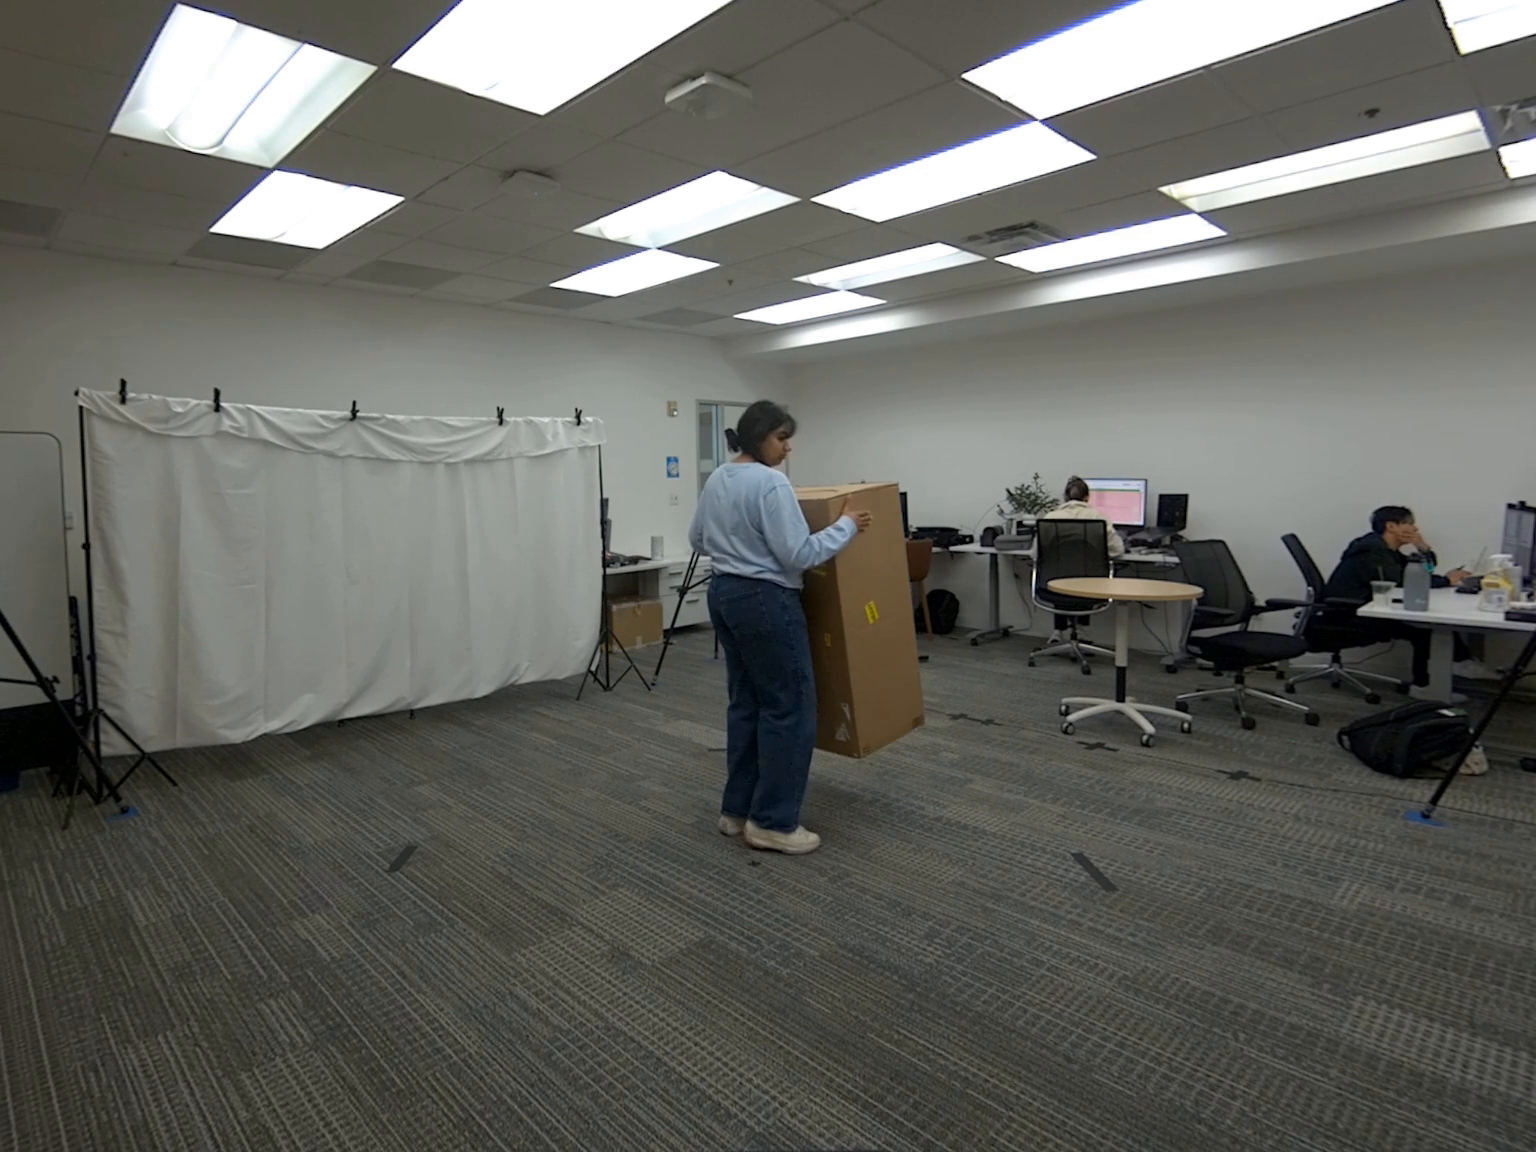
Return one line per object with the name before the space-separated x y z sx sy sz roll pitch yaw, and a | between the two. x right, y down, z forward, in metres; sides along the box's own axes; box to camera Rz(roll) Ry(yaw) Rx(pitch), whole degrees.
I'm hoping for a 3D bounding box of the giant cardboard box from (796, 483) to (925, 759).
giant cardboard box | 0.245 0.157 3.576 0.437 1.019 0.601 -14 10 -39
